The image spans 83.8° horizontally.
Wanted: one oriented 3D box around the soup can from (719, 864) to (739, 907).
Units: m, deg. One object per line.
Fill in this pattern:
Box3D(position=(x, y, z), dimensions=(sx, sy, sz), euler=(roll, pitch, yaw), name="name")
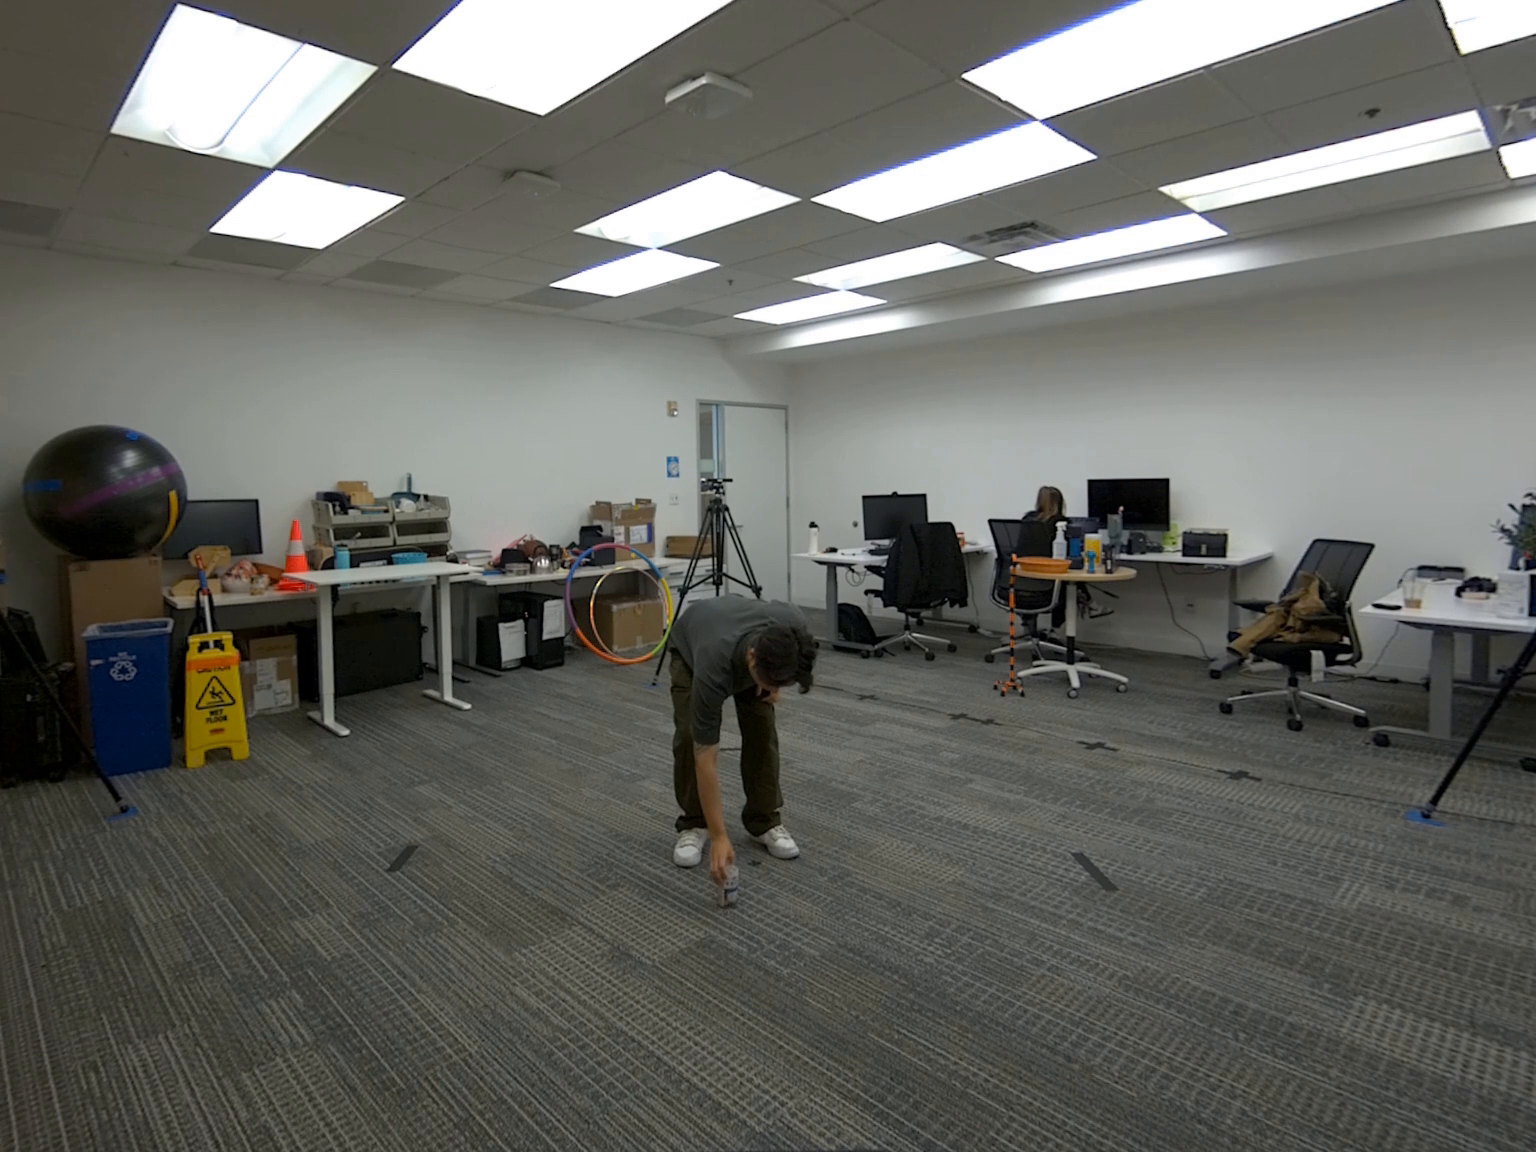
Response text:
Box3D(position=(-0.127, 1.015, 2.808), dimensions=(0.067, 0.121, 0.067), euler=(1, 6, -2), name="soup can")
